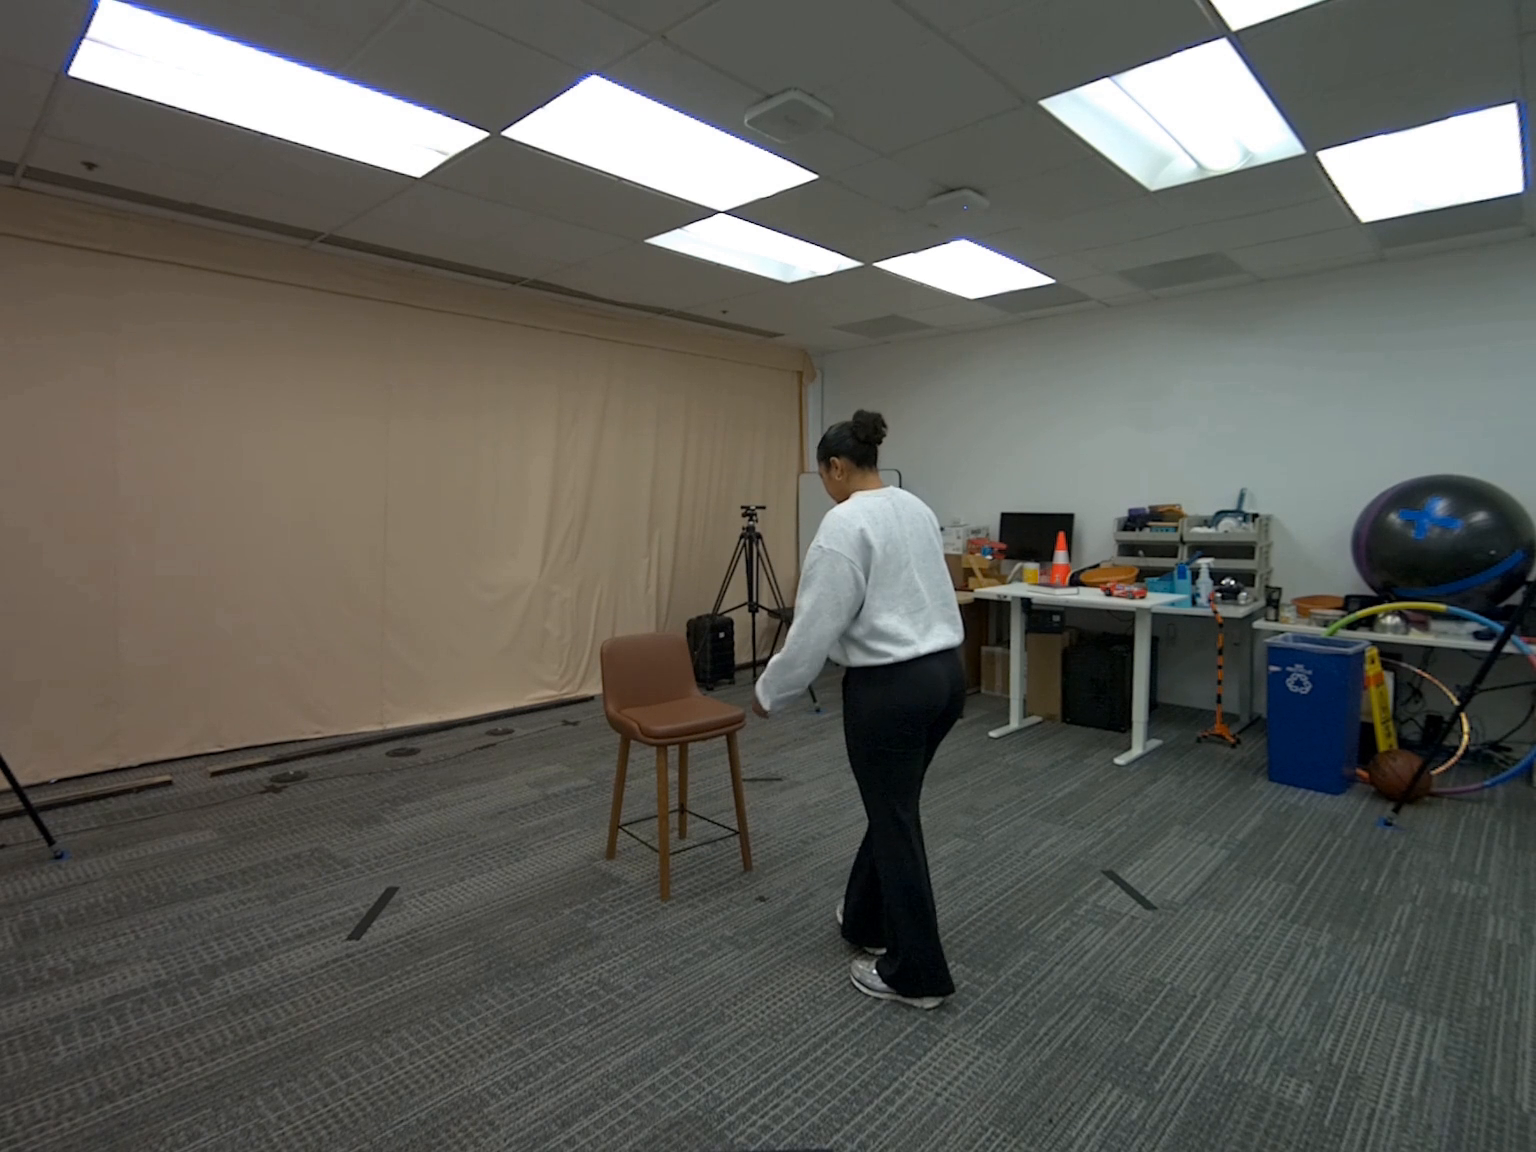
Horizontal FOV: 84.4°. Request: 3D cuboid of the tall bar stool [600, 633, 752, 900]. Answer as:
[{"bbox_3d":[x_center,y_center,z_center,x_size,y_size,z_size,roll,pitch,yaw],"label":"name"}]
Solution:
[{"bbox_3d":[-0.365,0.688,3.253,0.443,0.889,0.482,-3,2,-38],"label":"tall bar stool"}]
